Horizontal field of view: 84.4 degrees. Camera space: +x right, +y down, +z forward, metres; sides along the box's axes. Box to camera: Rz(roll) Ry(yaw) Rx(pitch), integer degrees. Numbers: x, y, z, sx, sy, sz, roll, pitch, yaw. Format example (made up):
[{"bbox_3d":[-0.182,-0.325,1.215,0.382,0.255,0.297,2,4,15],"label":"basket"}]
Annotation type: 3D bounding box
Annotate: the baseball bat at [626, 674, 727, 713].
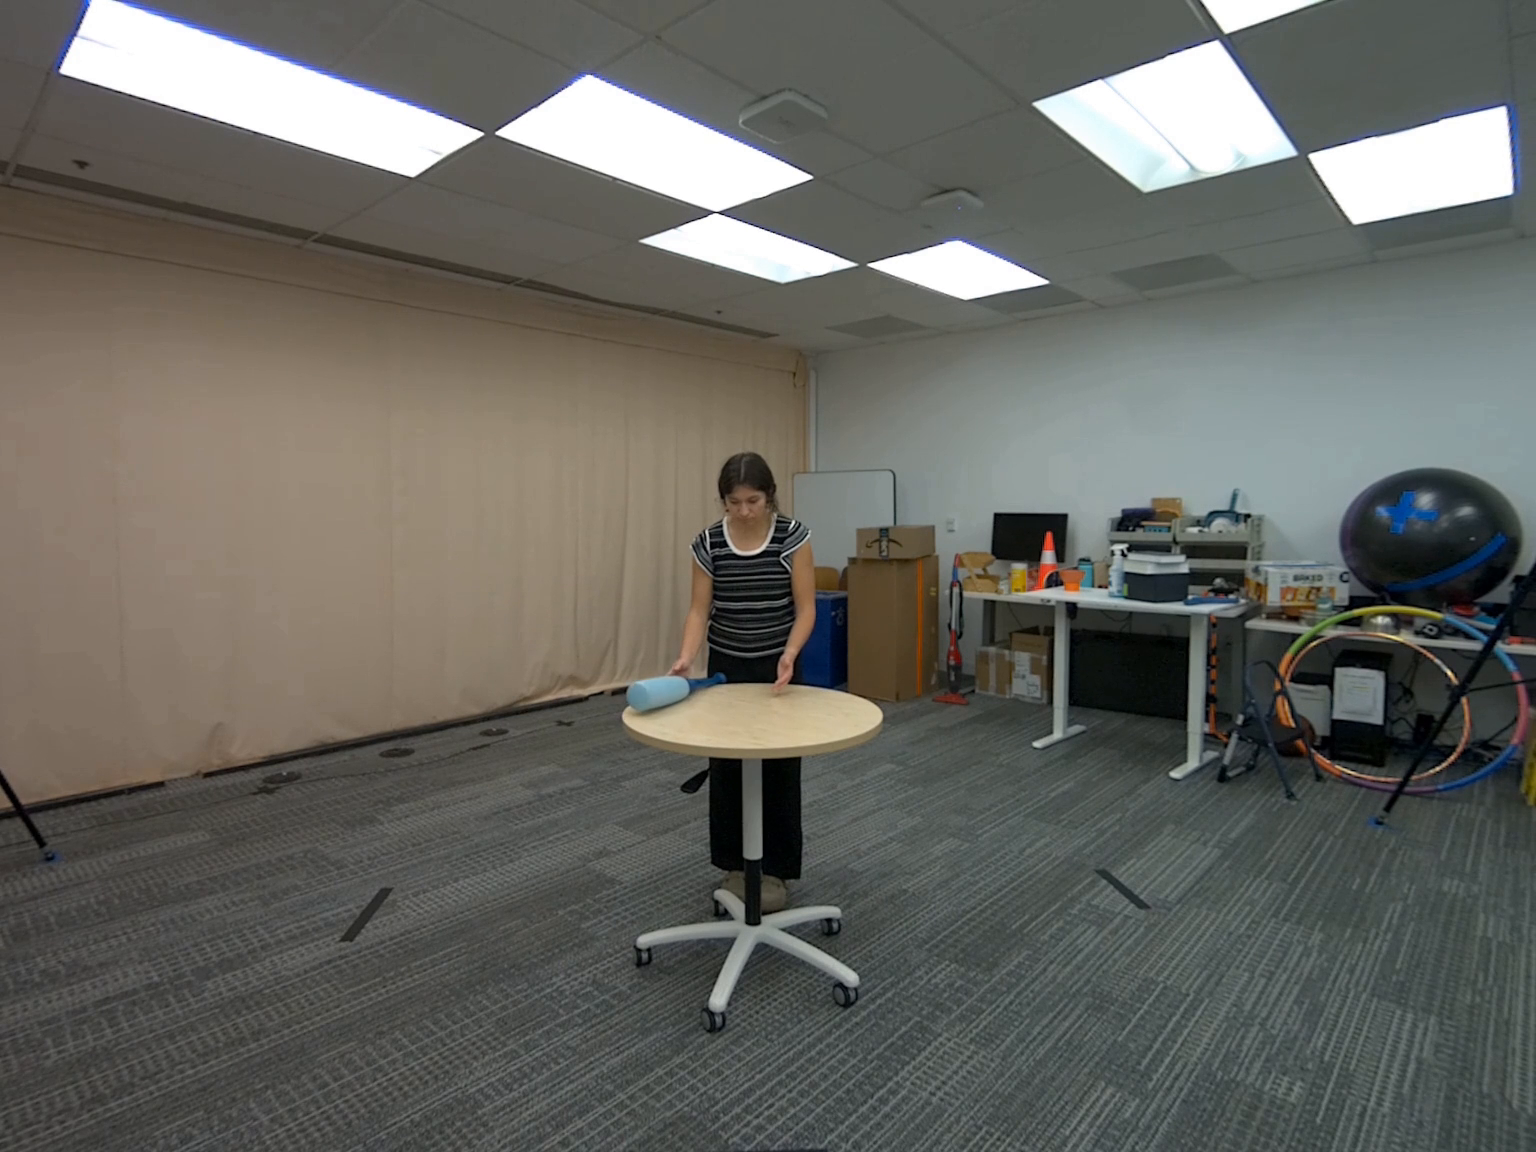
[{"bbox_3d":[-0.252,0.356,2.676,0.091,0.089,0.528,2,-1,25],"label":"baseball bat"}]
